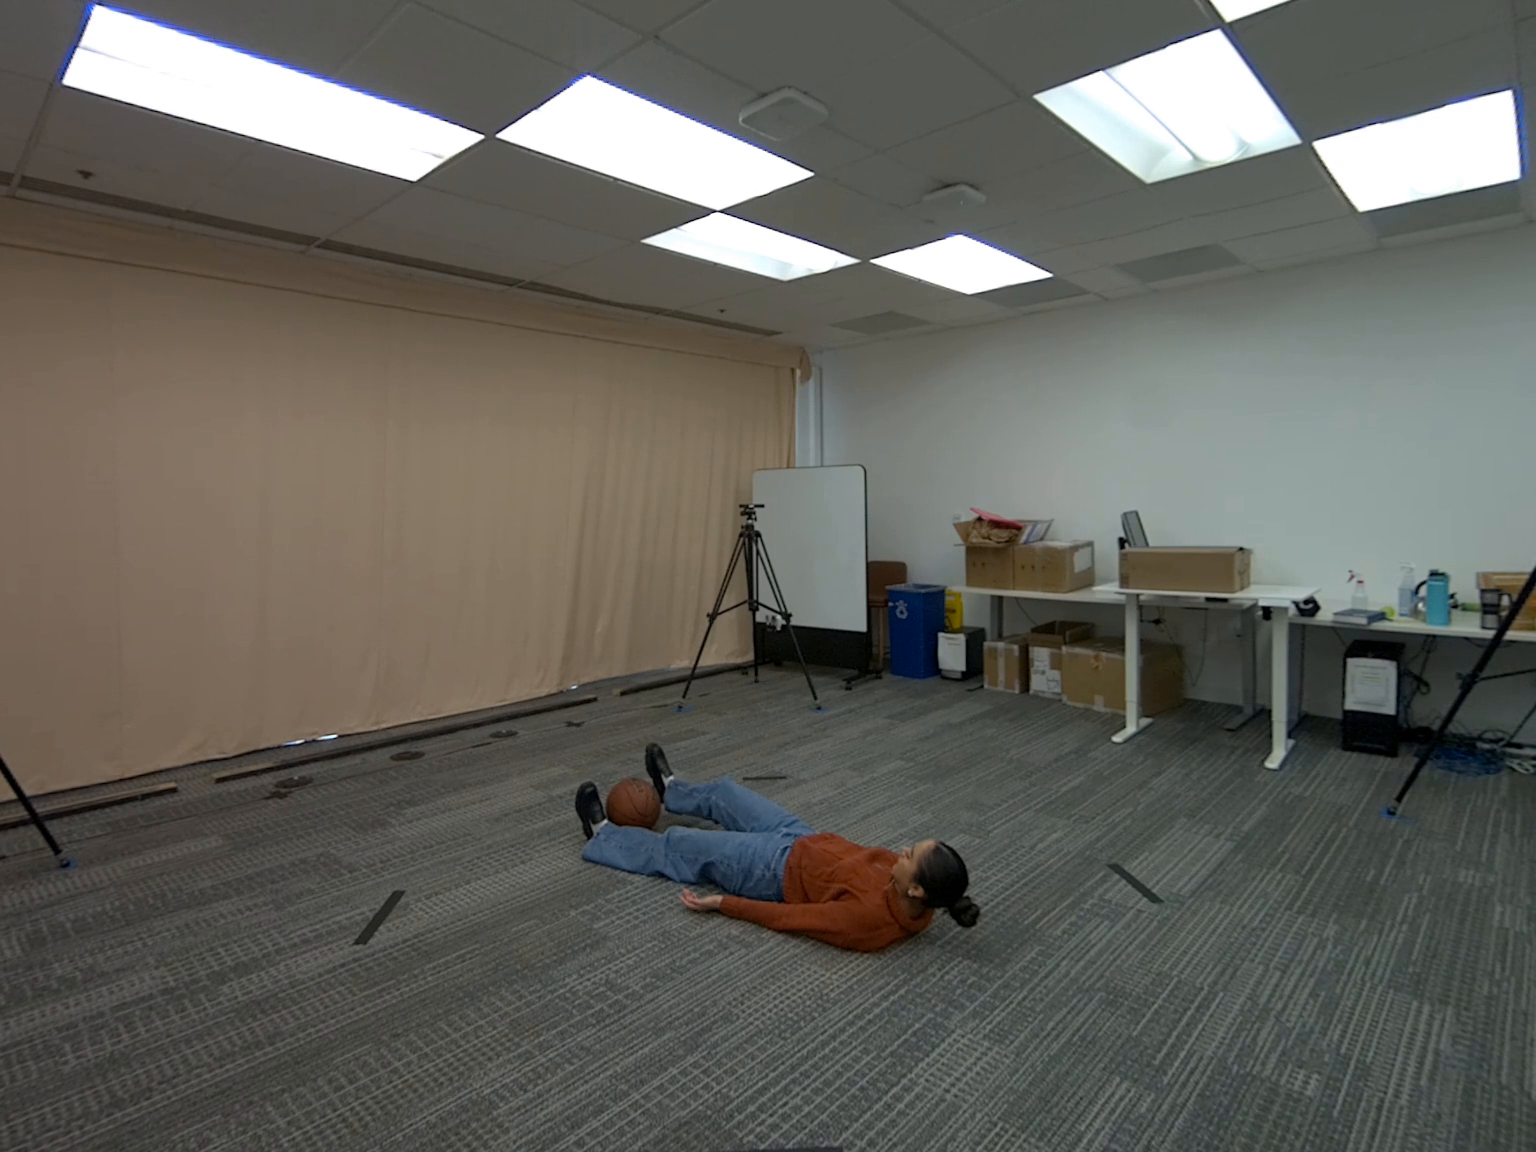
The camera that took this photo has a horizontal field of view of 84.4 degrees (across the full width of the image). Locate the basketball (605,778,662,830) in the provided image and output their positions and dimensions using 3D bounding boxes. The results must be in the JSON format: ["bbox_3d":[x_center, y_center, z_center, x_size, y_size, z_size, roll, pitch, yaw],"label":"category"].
[{"bbox_3d":[-0.576,0.982,3.603,0.236,0.235,0.237,-1,4,-2],"label":"basketball"}]
